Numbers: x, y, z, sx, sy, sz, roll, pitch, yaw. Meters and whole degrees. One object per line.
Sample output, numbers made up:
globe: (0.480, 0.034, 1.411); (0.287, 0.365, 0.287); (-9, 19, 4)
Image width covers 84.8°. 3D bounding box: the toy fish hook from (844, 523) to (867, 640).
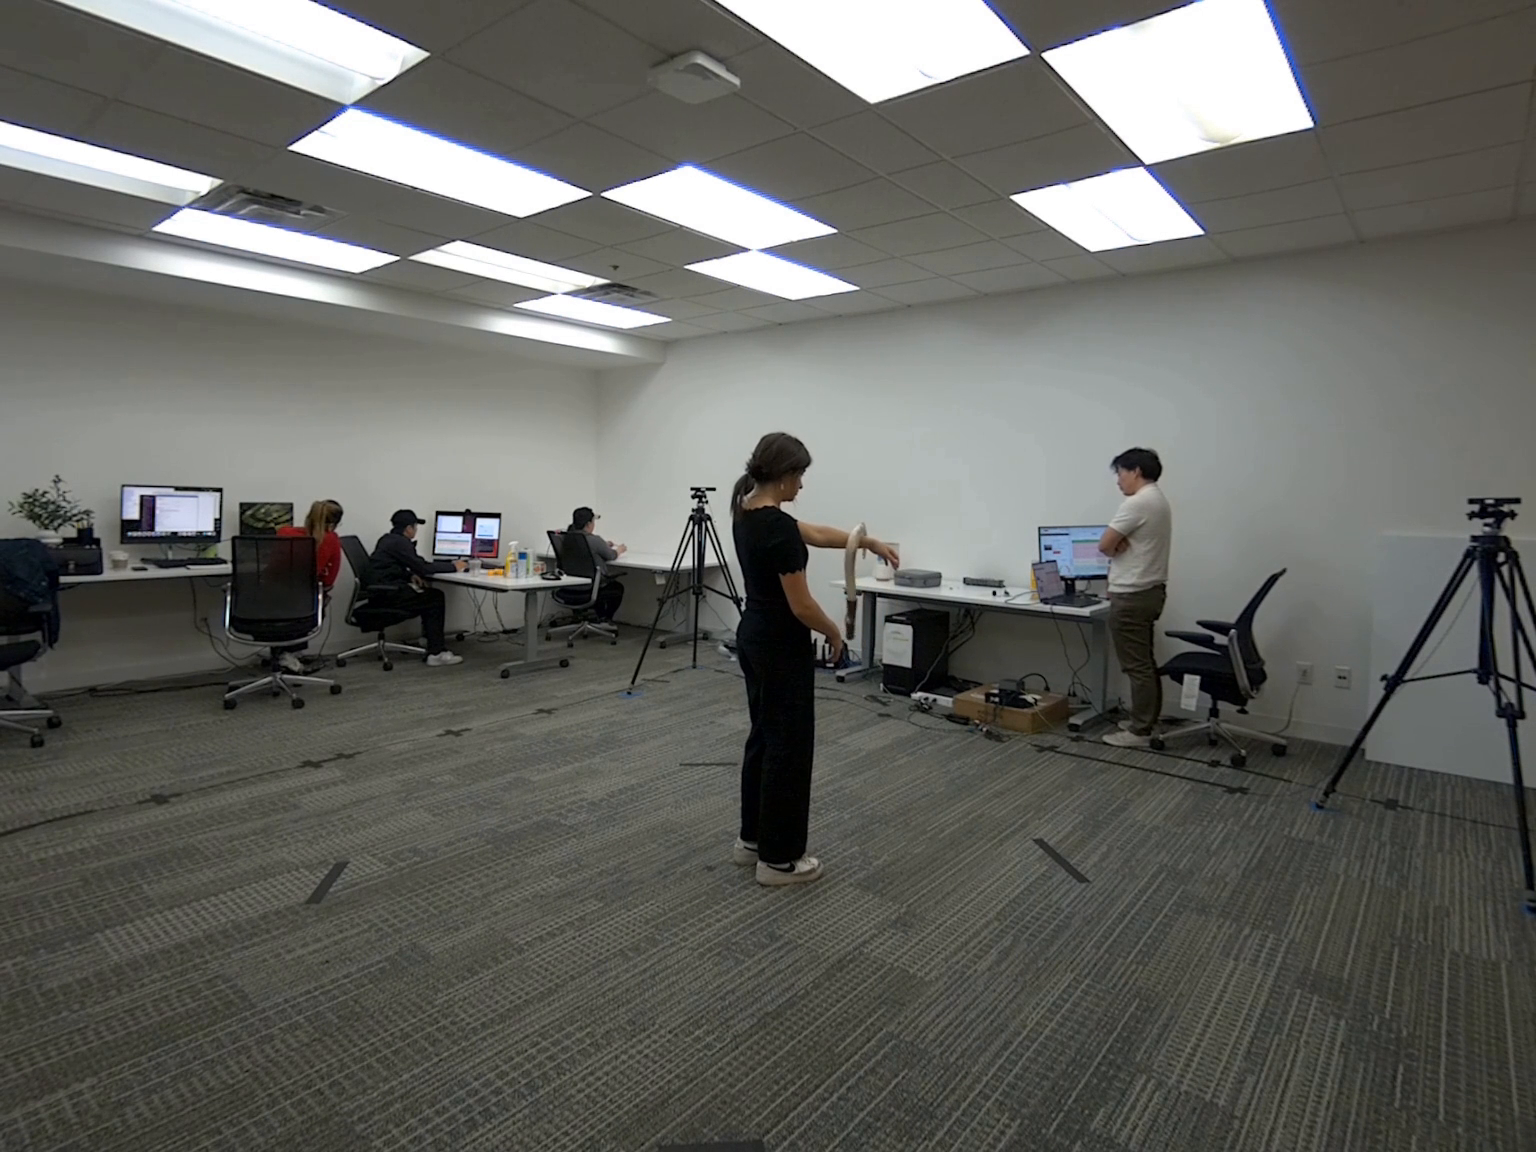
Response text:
toy fish hook: (0.349, 0.012, 3.397); (0.050, 0.494, 0.224); (14, 34, 23)
